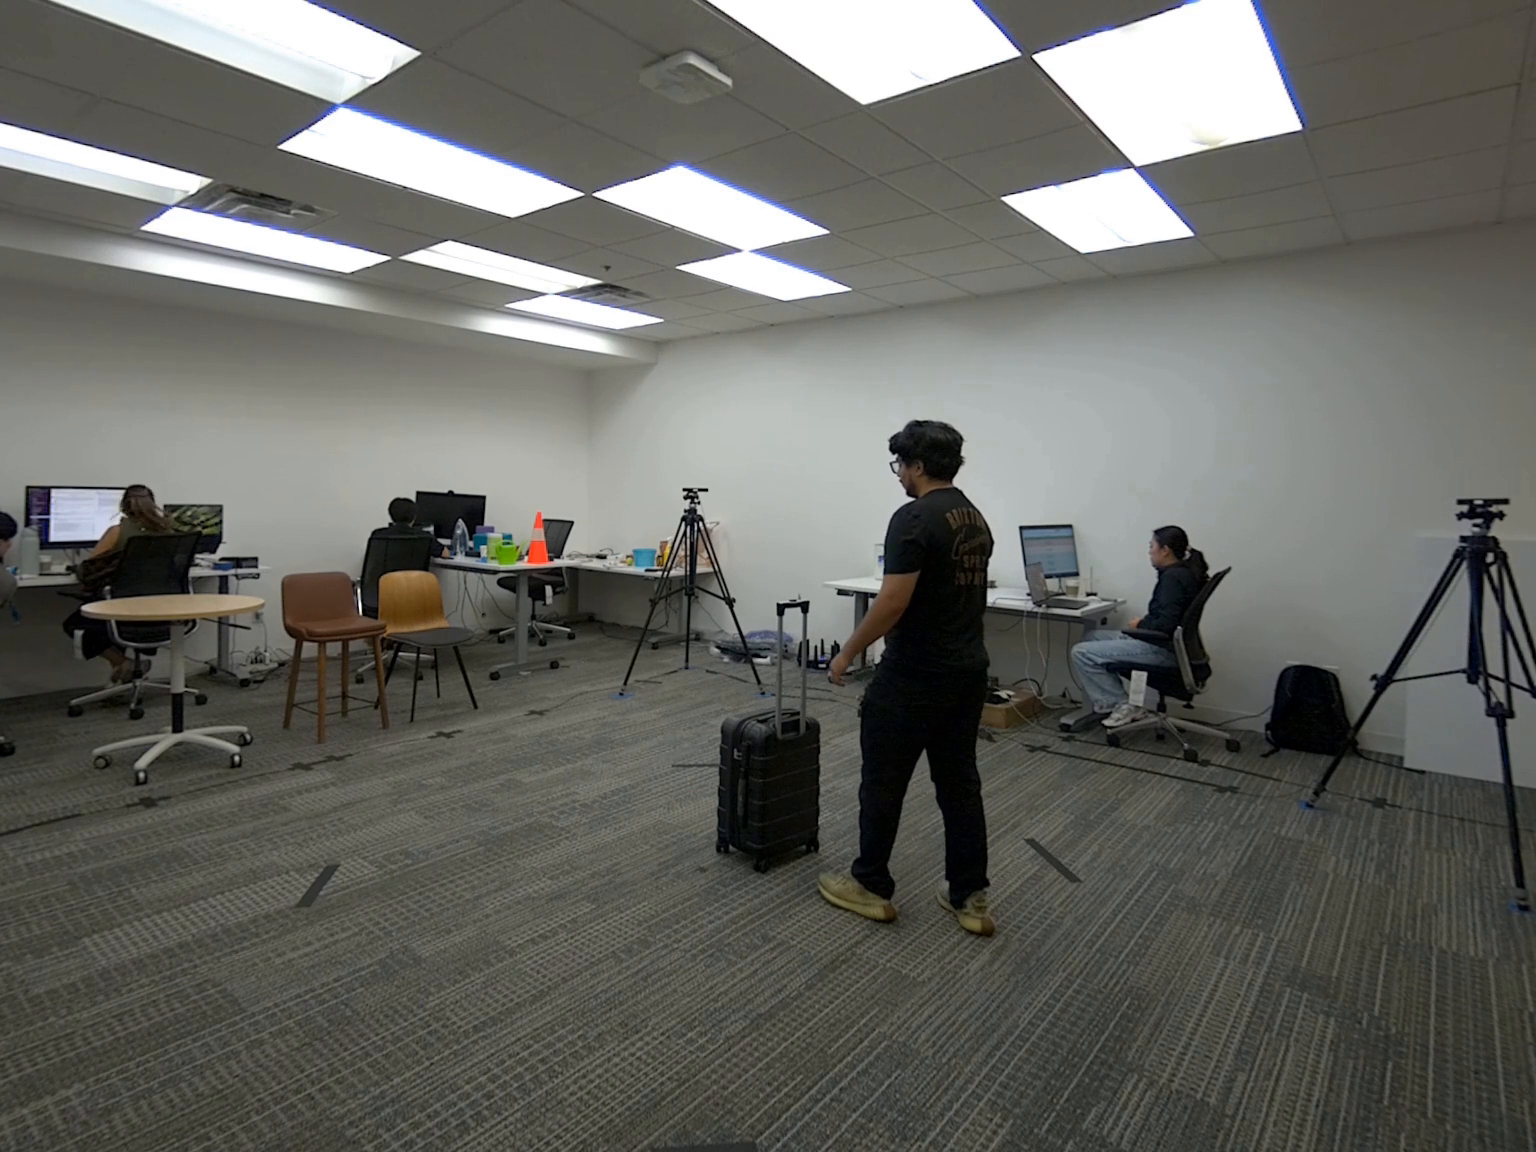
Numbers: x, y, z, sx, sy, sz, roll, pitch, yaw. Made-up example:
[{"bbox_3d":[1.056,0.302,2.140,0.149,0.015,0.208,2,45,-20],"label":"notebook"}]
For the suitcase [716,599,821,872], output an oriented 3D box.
[{"bbox_3d":[-0.002,0.581,3.242,0.372,0.976,0.266,-1,3,-41],"label":"suitcase"}]
